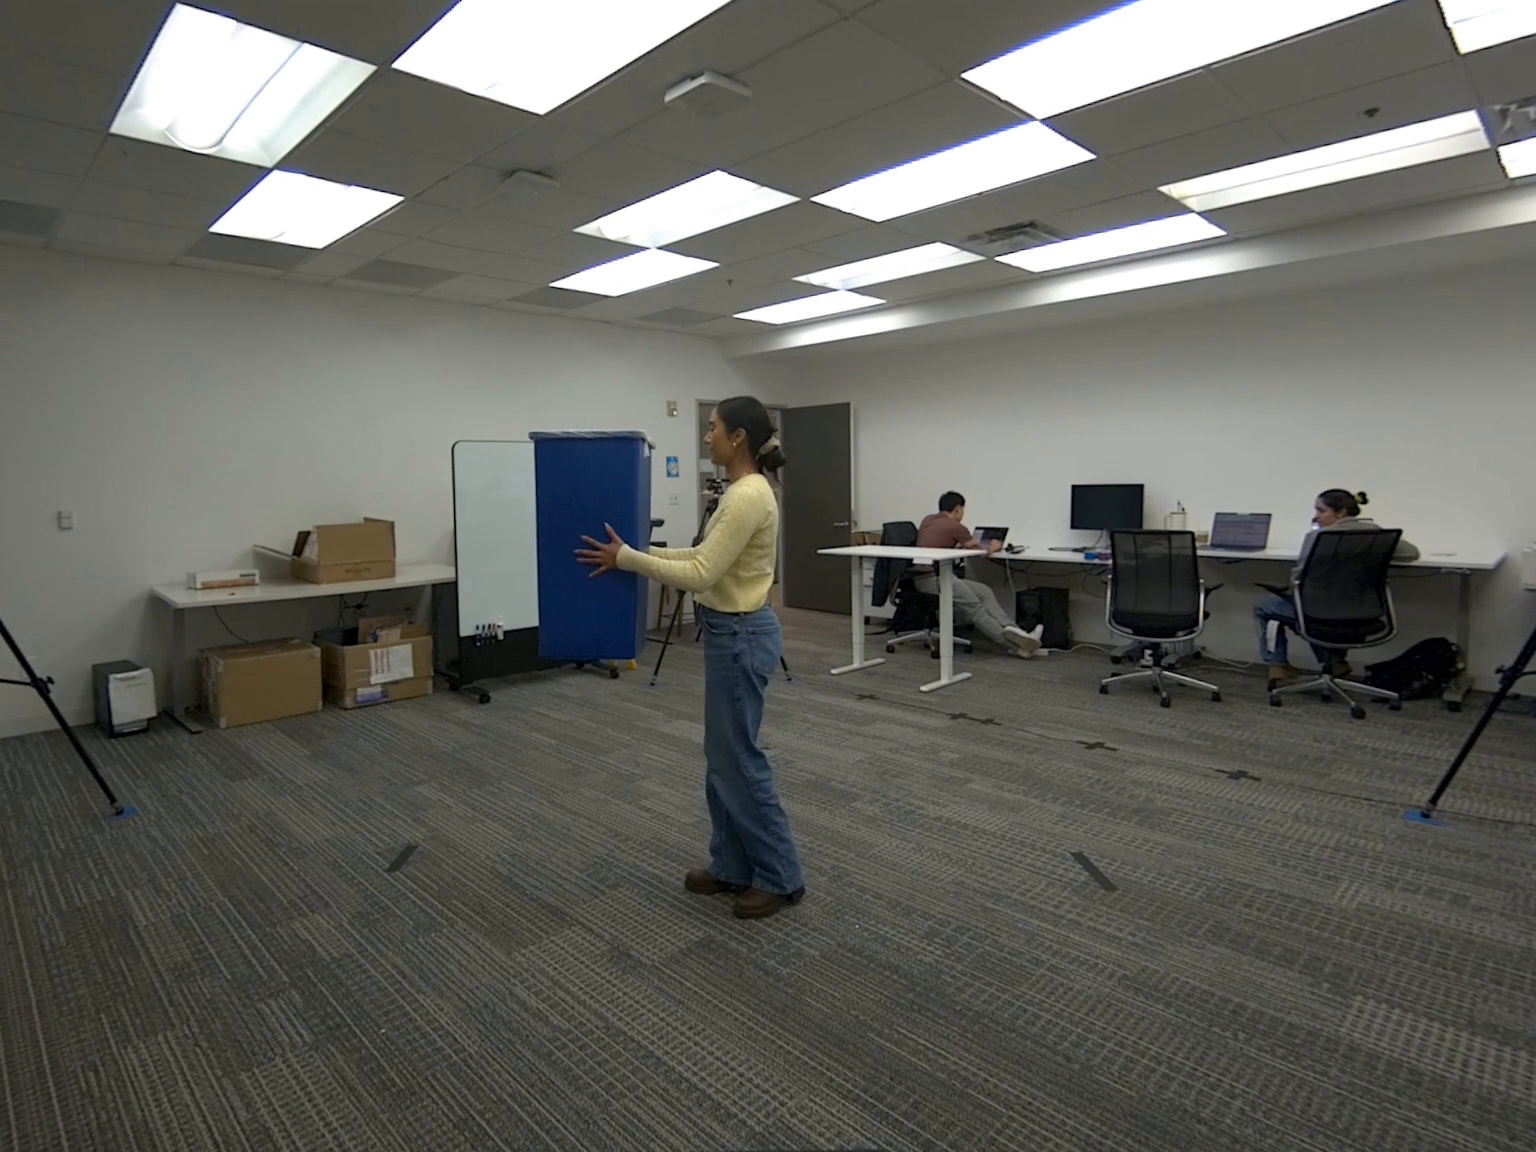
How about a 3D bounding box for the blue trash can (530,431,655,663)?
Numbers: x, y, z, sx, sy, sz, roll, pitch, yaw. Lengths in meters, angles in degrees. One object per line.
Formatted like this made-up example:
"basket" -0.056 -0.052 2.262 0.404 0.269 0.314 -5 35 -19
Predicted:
"blue trash can" -0.567 -0.109 2.814 0.374 0.714 0.378 1 0 0
